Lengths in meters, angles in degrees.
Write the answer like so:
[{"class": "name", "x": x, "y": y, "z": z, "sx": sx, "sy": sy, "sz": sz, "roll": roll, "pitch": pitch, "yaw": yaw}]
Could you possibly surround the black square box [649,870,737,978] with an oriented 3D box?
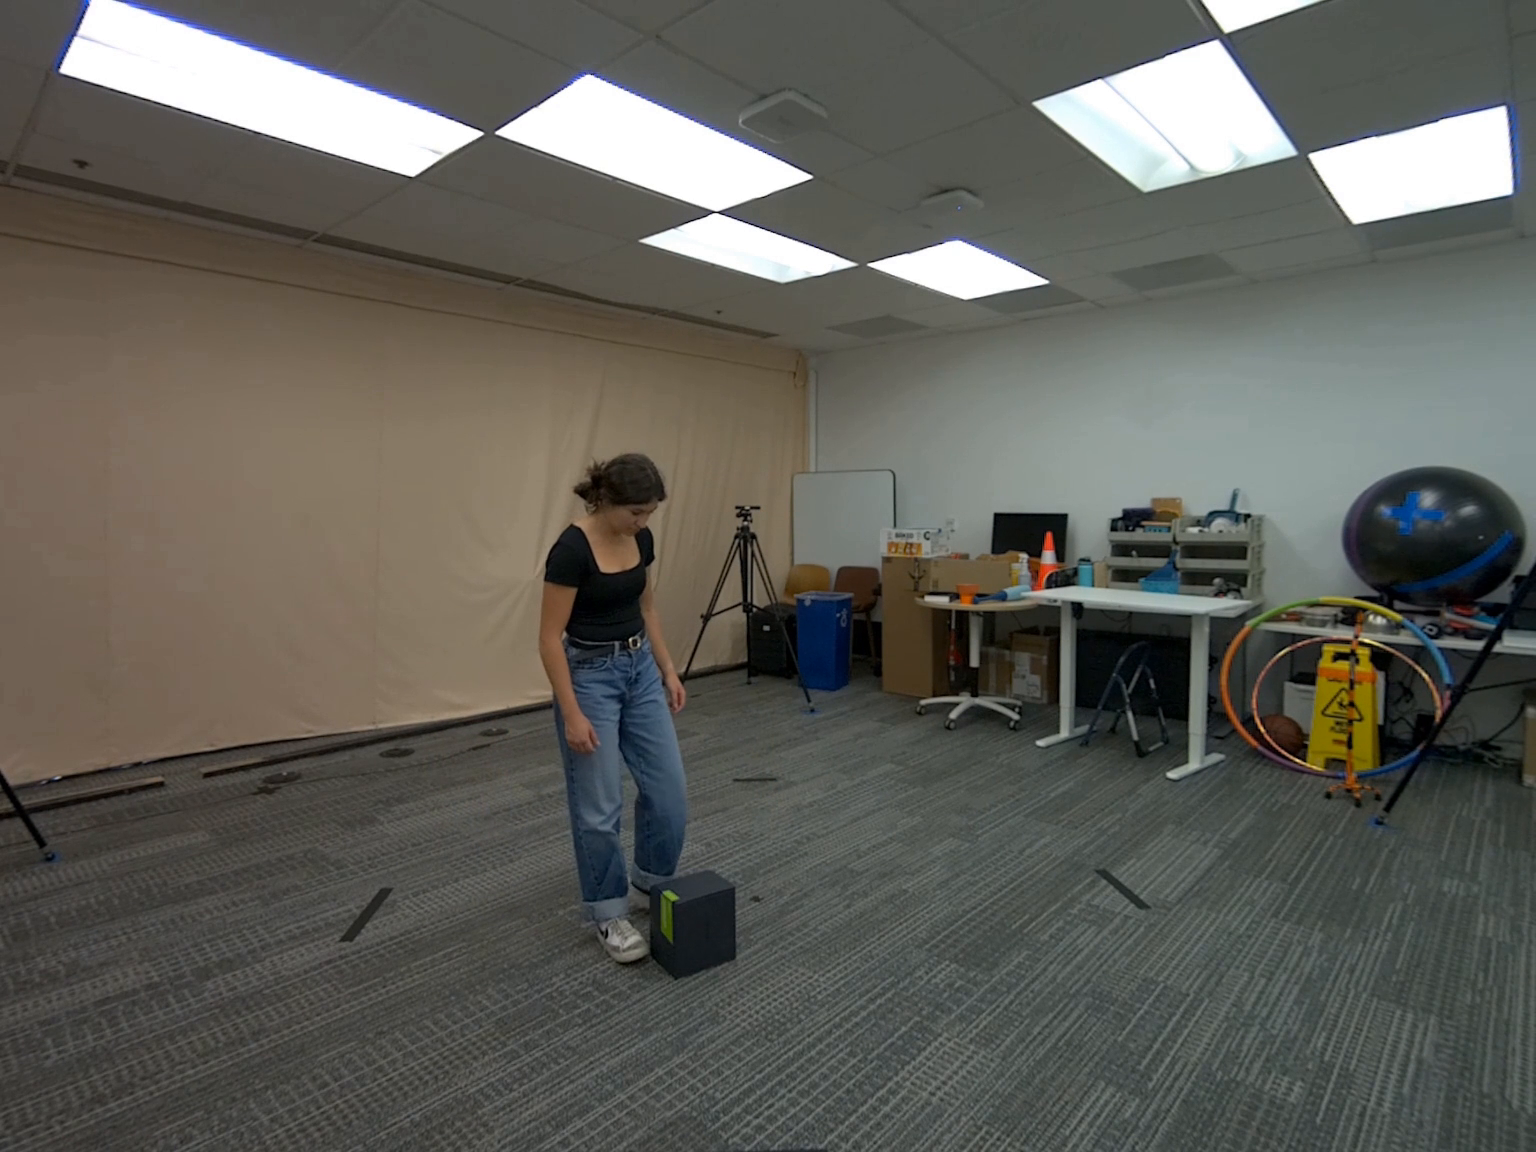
[{"class": "black square box", "x": -0.226, "y": 1.061, "z": 2.580, "sx": 0.211, "sy": 0.227, "sz": 0.161, "roll": -3, "pitch": 4, "yaw": -33}]
